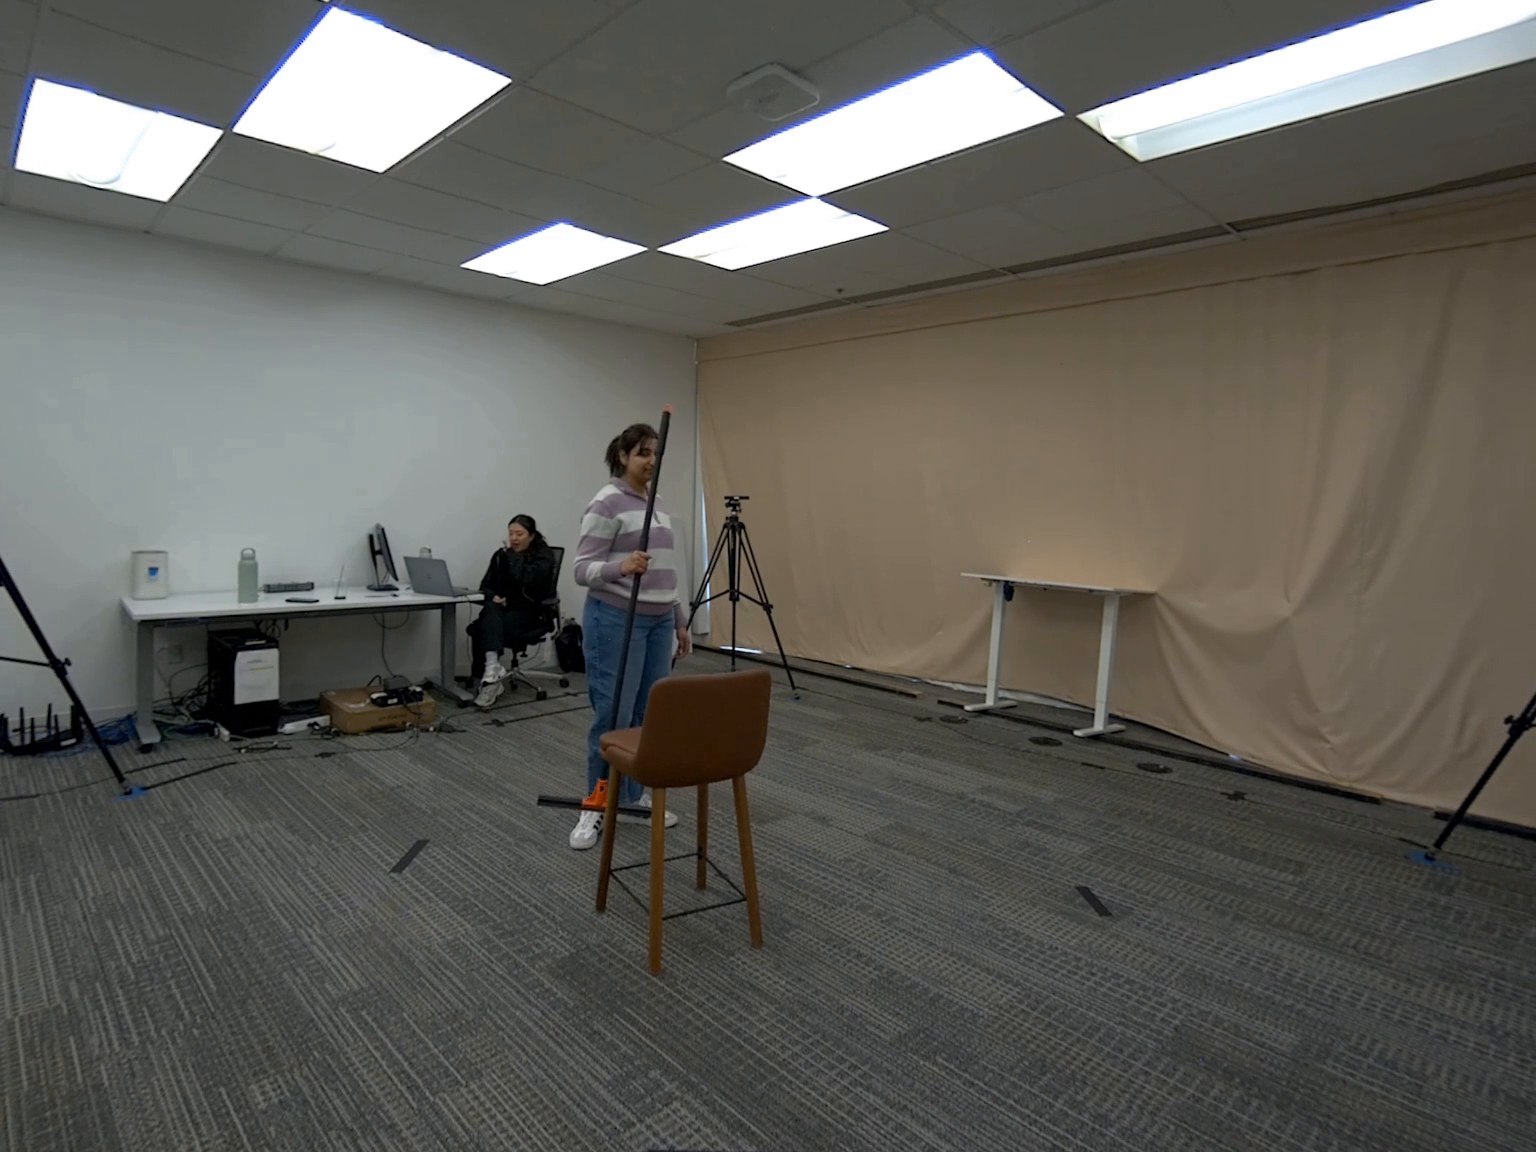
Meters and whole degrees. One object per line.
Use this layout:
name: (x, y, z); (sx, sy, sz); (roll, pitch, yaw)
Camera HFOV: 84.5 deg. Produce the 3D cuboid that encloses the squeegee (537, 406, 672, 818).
squeegee: (-0.532, 0.122, 3.149); (0.434, 1.542, 0.053); (7, -4, -9)
